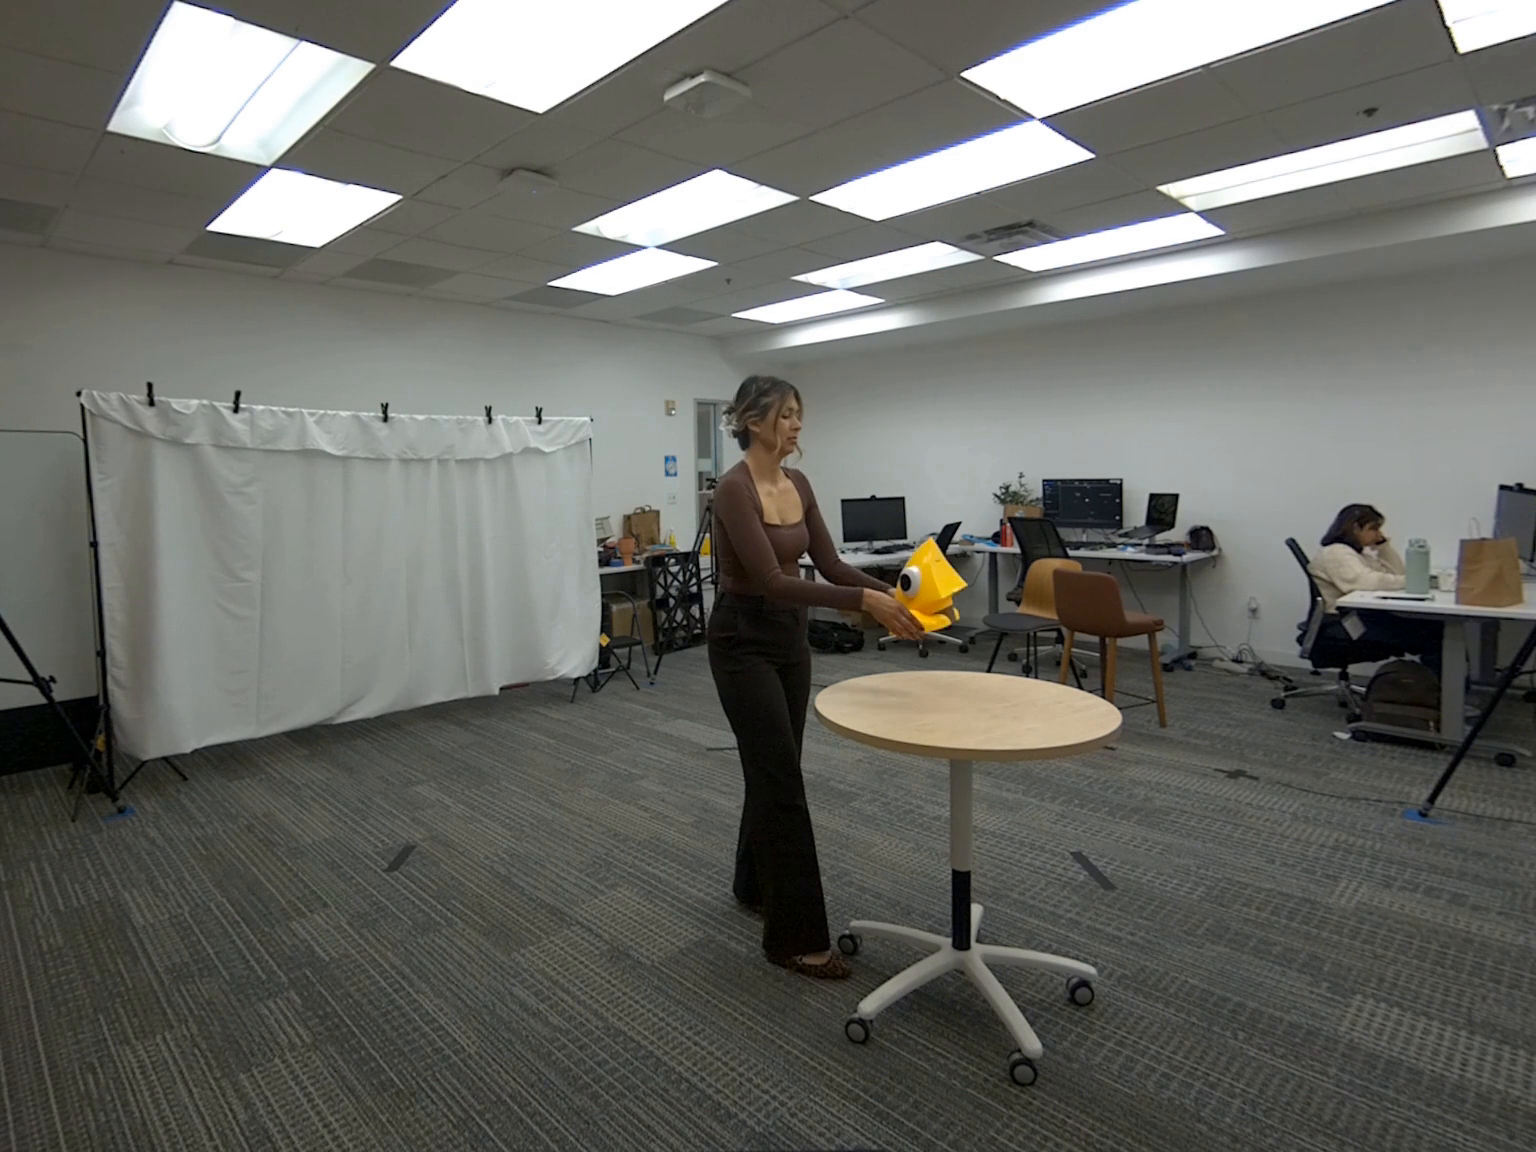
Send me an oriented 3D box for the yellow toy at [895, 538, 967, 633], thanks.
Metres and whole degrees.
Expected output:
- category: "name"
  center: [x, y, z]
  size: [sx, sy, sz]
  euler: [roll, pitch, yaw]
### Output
- category: "yellow toy"
  center: [0.401, 0.020, 2.289]
  size: [0.197, 0.231, 0.200]
  euler: [-13, 0, 33]
